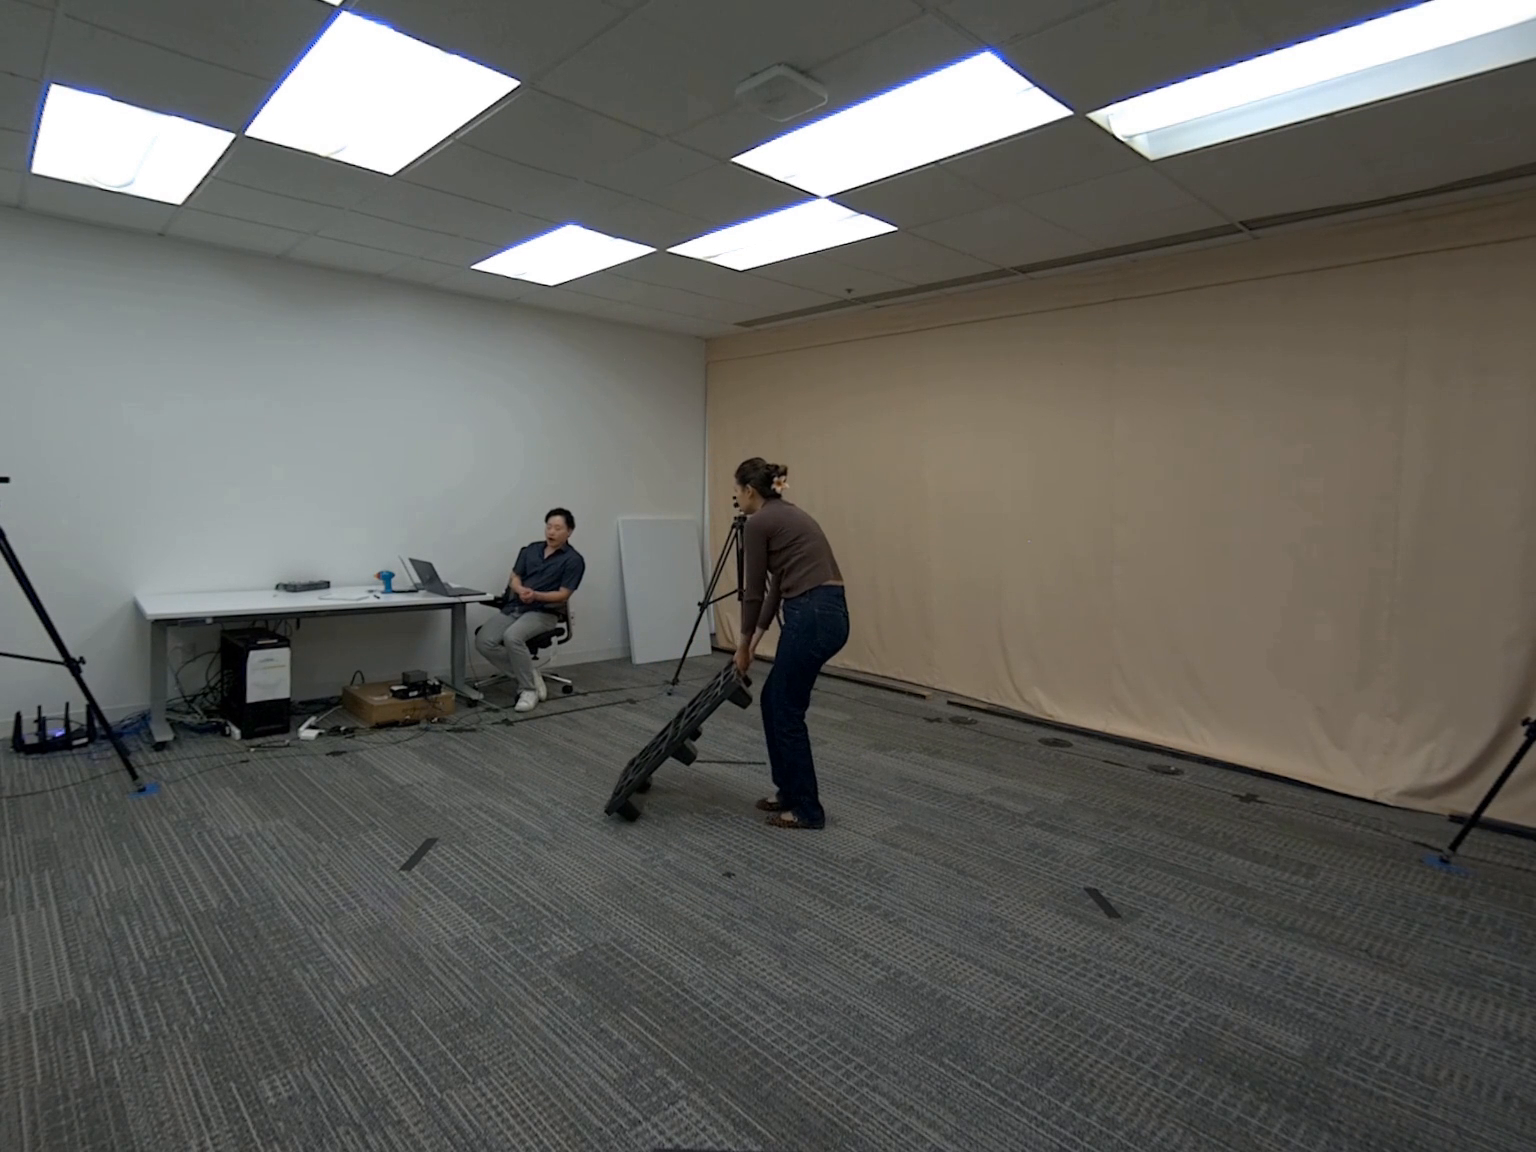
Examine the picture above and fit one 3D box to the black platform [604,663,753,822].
[{"bbox_3d":[-0.377,0.718,3.797,0.143,0.805,0.607,43,2,-5],"label":"black platform"}]
